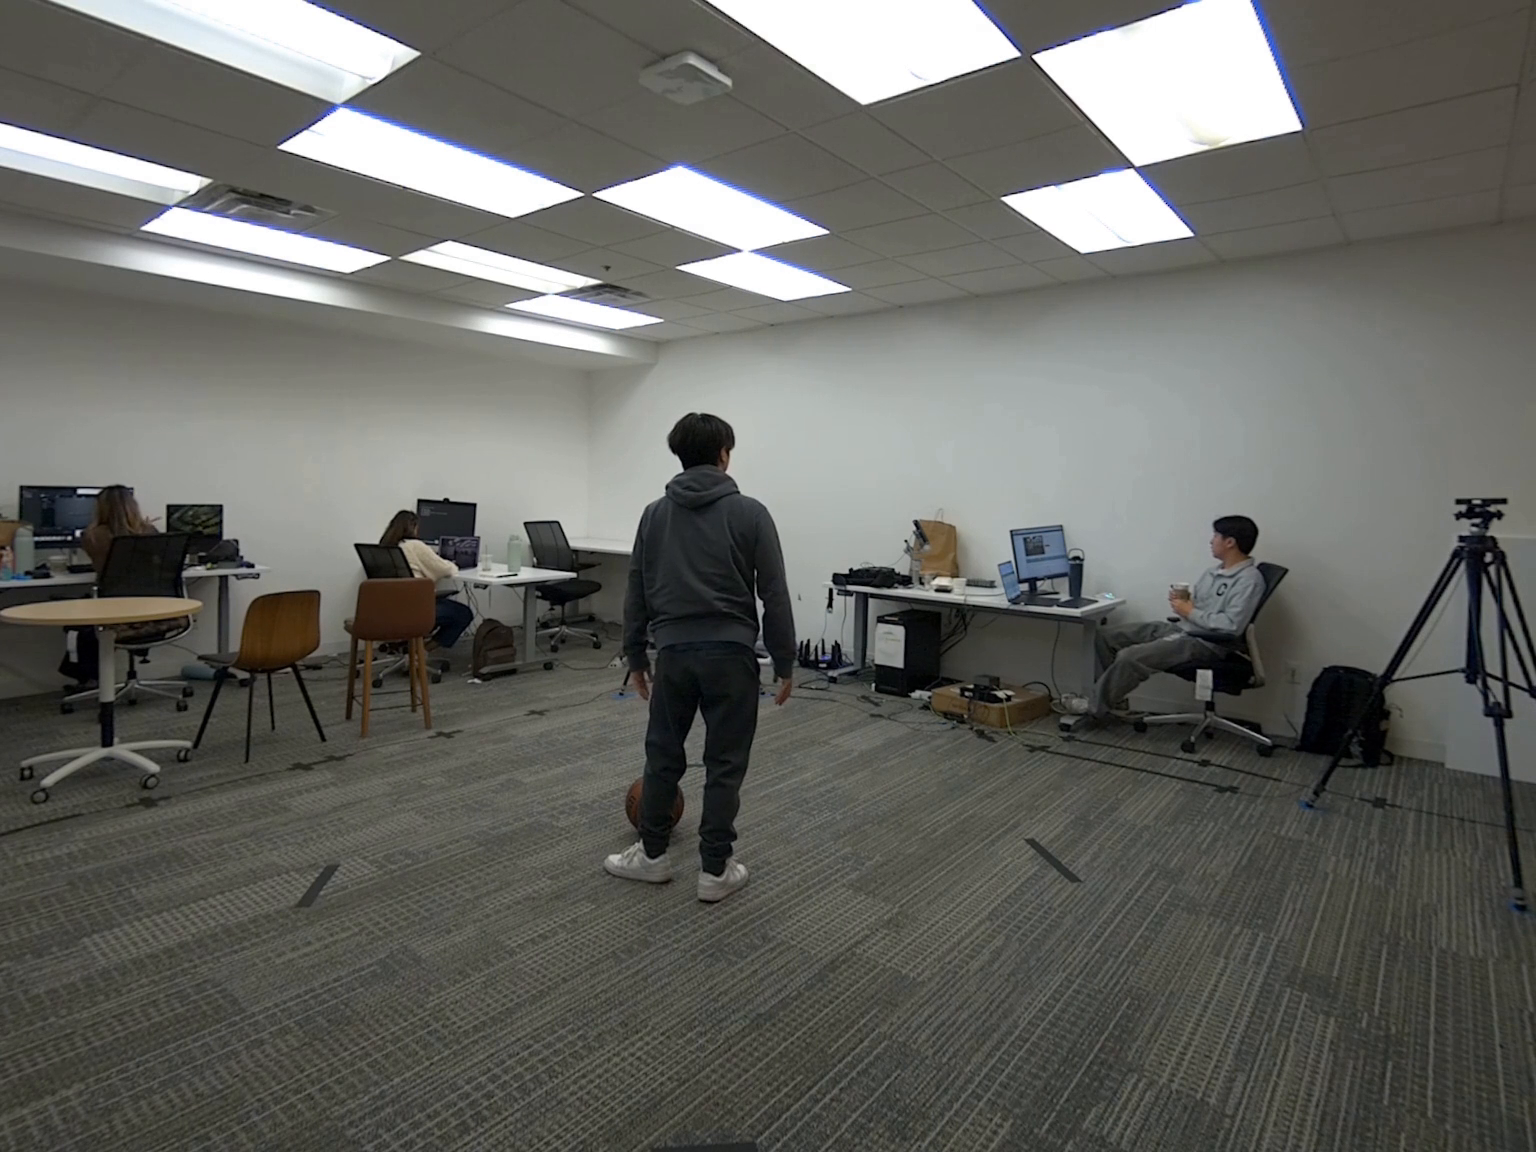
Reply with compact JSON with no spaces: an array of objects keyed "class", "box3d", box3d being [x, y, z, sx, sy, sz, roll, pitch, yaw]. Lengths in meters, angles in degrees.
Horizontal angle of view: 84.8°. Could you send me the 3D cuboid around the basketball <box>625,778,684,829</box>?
[{"class":"basketball","box3d":[-0.468,0.912,3.432,0.235,0.235,0.237,1,4,-2]}]
